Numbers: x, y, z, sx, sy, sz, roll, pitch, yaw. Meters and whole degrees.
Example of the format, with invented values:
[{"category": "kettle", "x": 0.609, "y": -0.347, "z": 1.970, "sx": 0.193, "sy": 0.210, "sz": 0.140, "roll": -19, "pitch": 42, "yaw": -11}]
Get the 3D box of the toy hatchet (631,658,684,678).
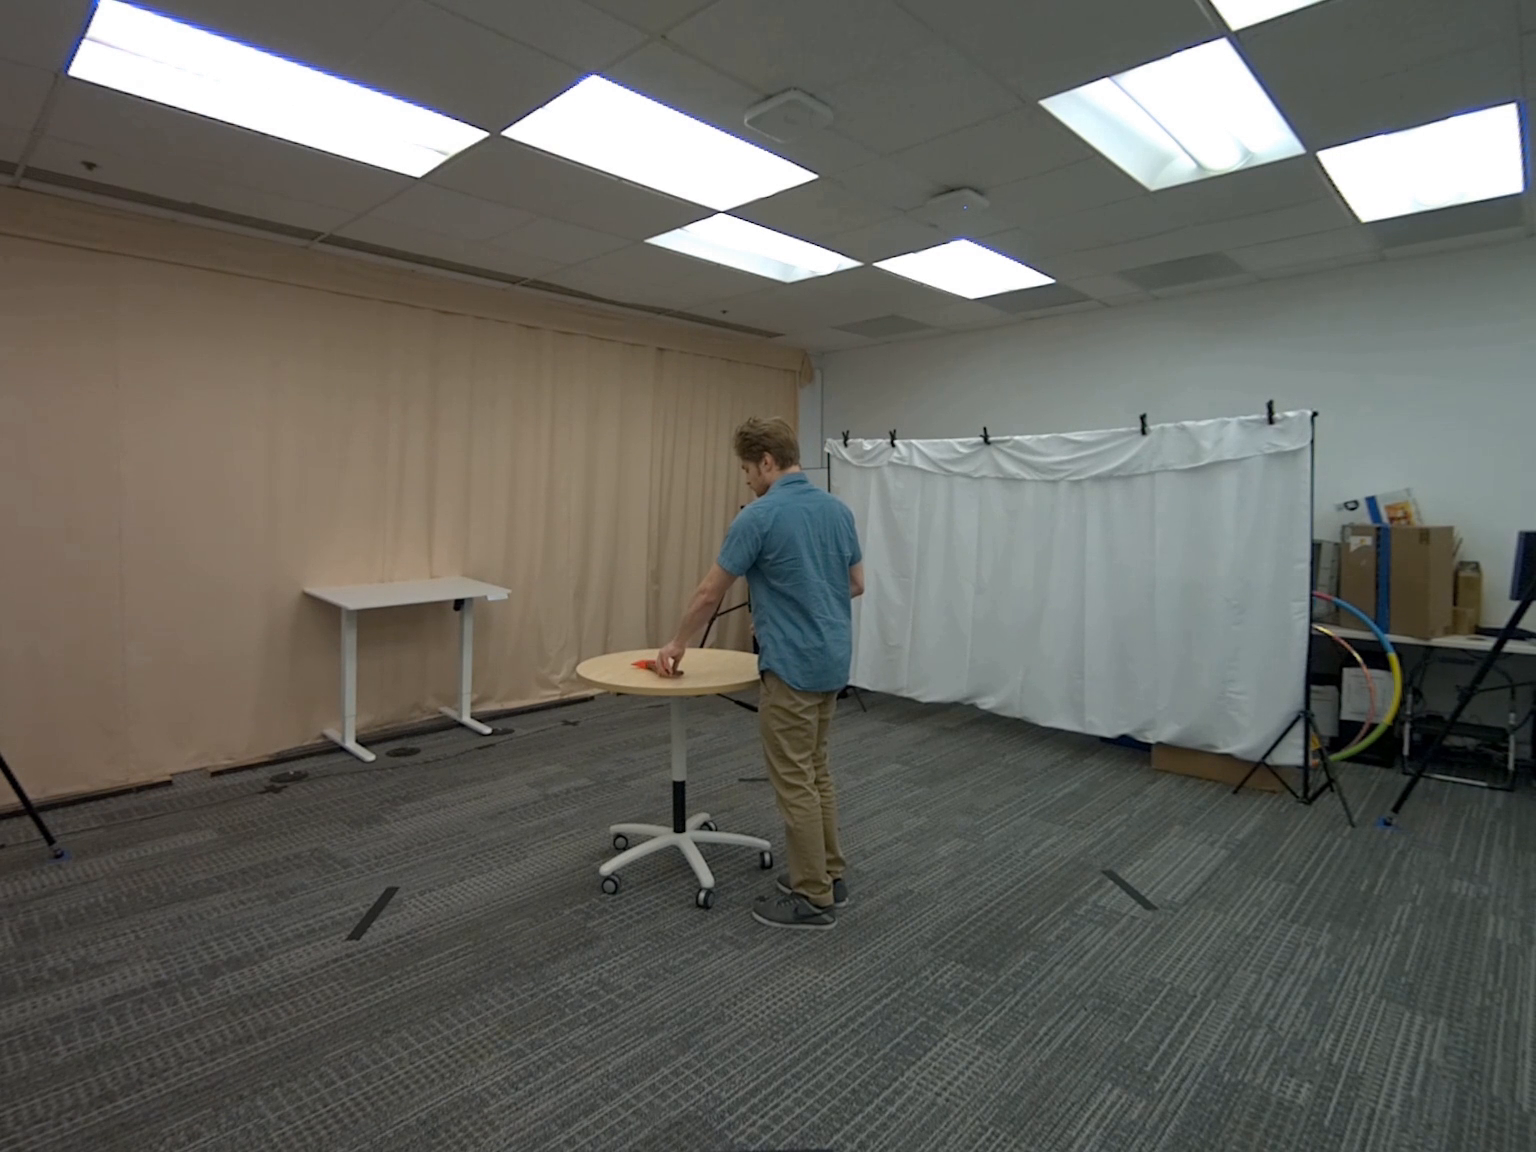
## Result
[{"category": "toy hatchet", "x": -0.375, "y": 0.341, "z": 3.099, "sx": 0.127, "sy": 0.029, "sz": 0.279, "roll": 1, "pitch": 4, "yaw": -44}]
